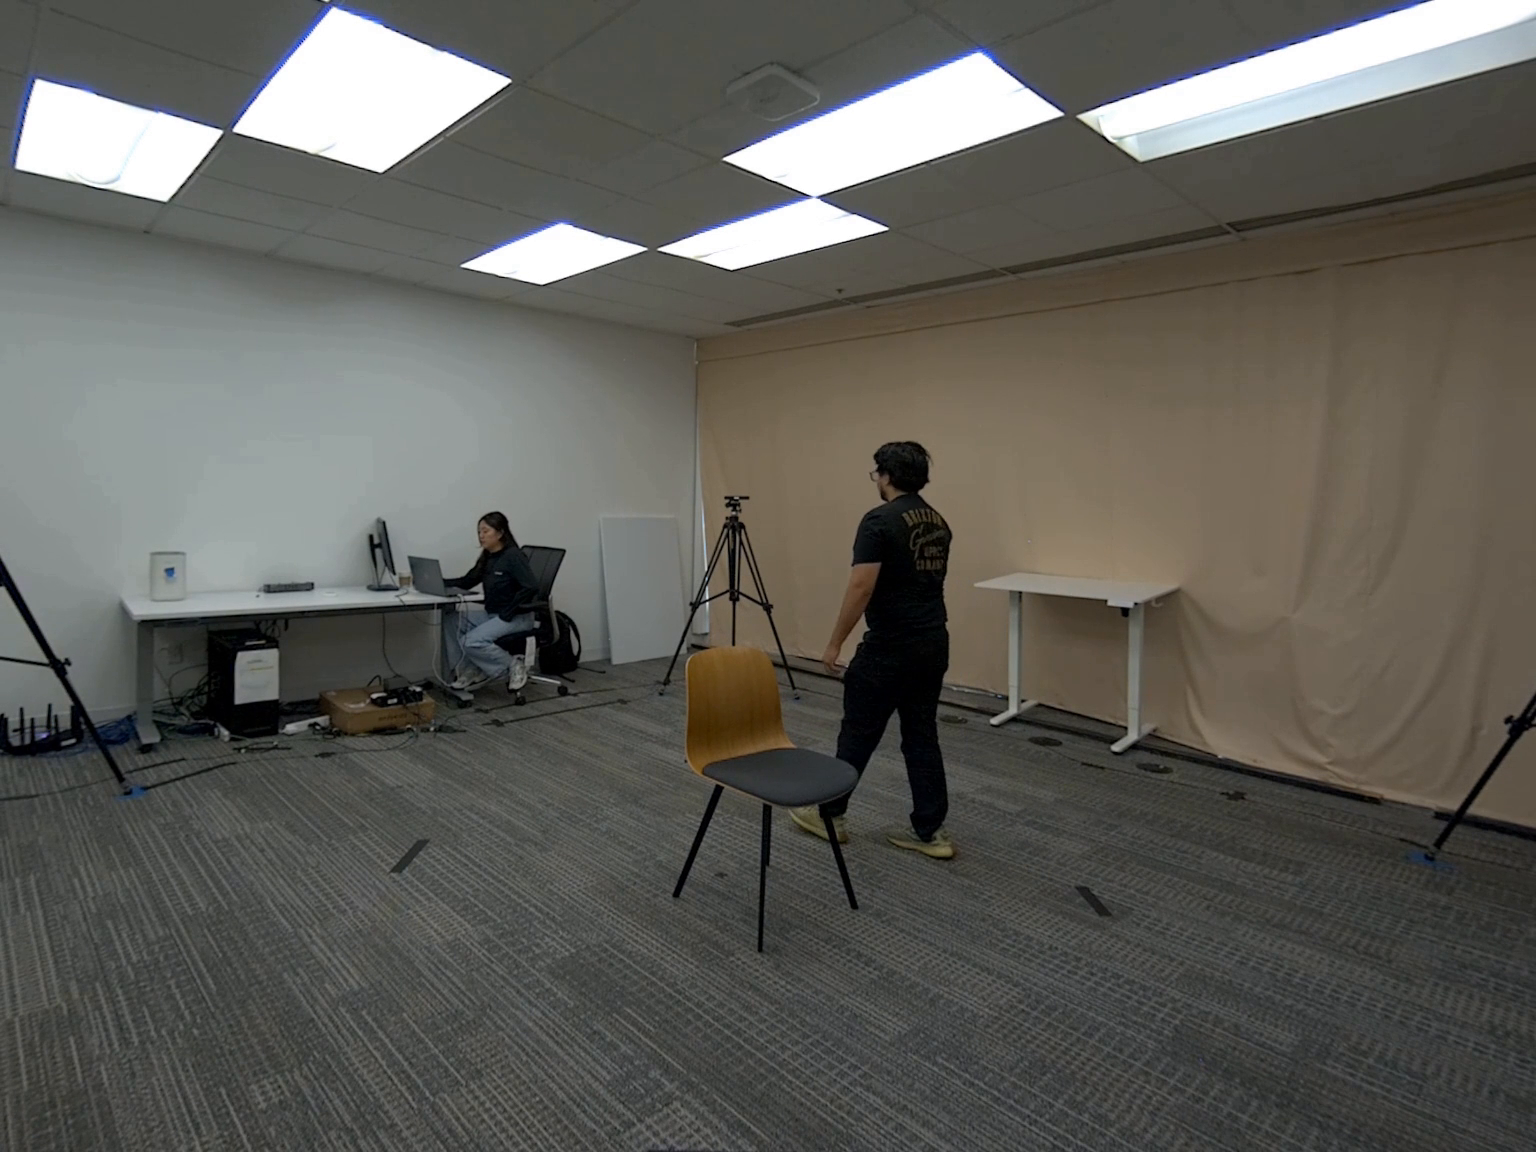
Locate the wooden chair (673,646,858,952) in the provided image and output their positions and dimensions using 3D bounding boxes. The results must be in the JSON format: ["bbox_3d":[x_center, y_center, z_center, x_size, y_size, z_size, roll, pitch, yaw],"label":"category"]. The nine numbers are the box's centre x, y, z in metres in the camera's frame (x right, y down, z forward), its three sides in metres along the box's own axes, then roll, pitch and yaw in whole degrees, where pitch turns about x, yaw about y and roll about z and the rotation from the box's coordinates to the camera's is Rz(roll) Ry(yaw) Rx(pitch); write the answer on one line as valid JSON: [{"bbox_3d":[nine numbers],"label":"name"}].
[{"bbox_3d":[0.000,0.704,2.856,0.467,0.877,0.535,-1,0,-41],"label":"wooden chair"}]
